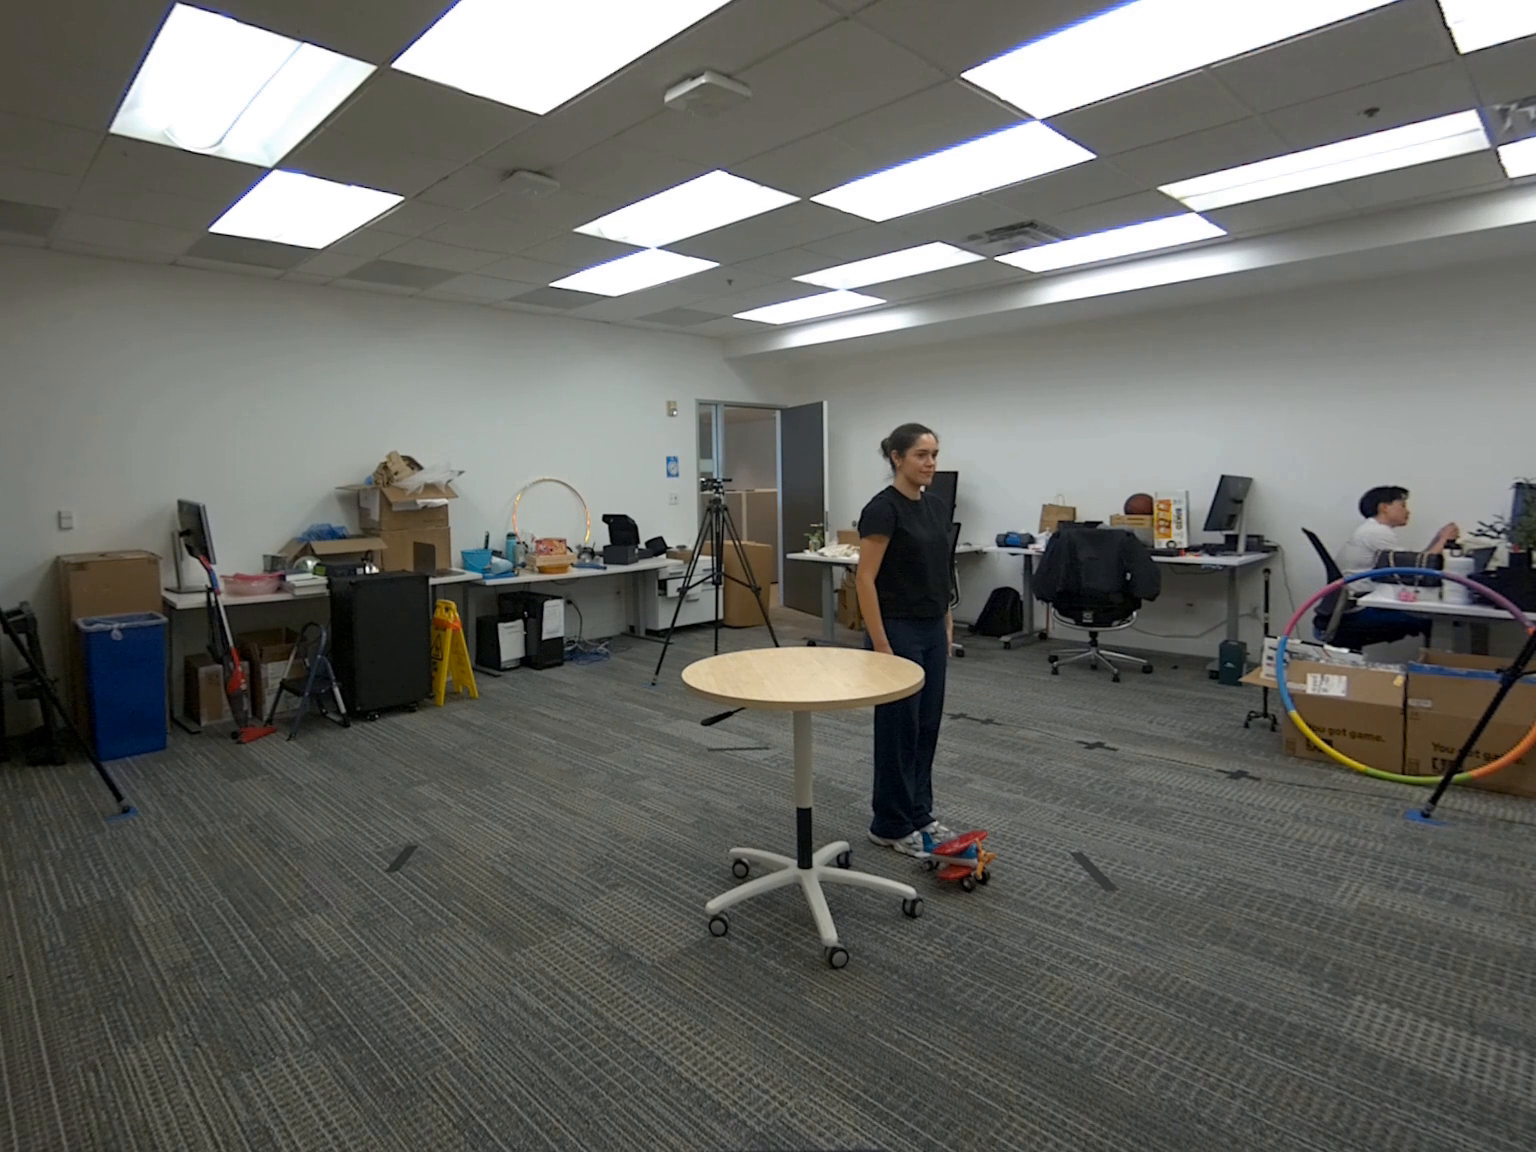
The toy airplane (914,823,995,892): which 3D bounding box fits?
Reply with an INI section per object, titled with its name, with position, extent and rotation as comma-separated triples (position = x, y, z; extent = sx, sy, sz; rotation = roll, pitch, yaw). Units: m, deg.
[toy airplane]
position = 0.634, 0.980, 2.970
extent = 0.264, 0.156, 0.247
rotation = 3, 6, 19
